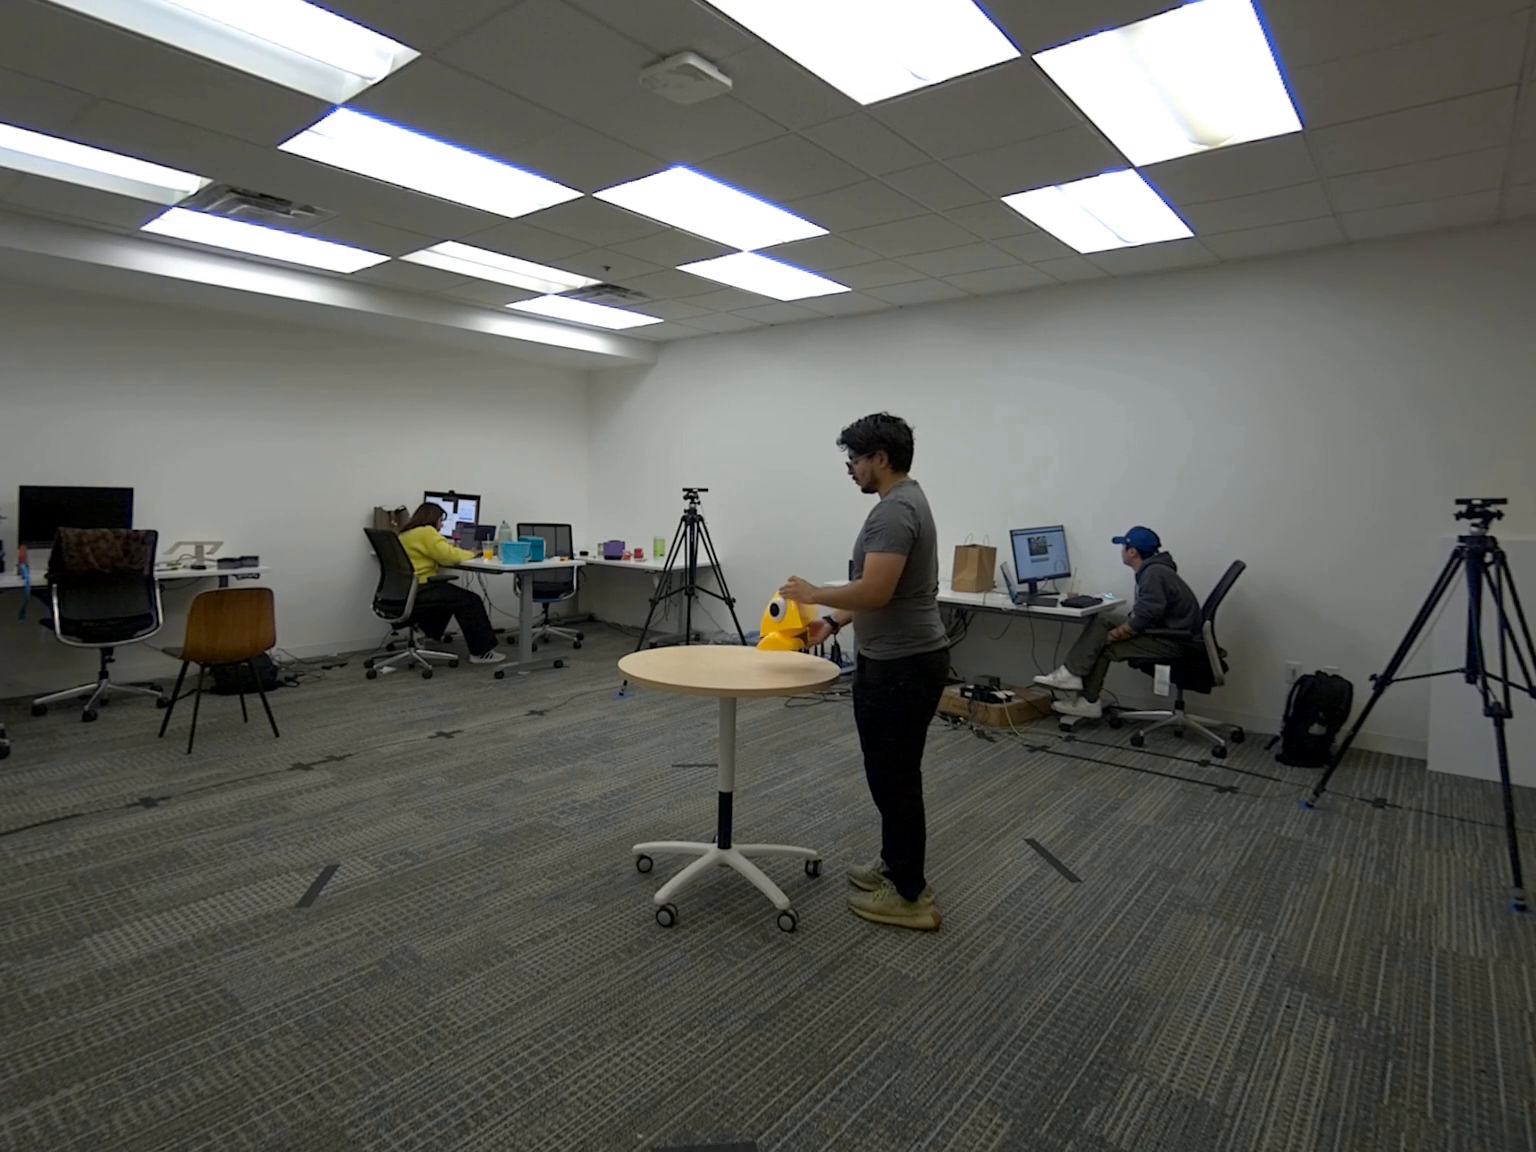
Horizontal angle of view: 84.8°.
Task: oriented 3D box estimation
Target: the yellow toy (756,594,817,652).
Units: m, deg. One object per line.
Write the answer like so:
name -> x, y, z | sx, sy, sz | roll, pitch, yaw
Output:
yellow toy -> 0.047, 0.110, 2.884 | 0.197, 0.229, 0.202 | -2, 6, 21
